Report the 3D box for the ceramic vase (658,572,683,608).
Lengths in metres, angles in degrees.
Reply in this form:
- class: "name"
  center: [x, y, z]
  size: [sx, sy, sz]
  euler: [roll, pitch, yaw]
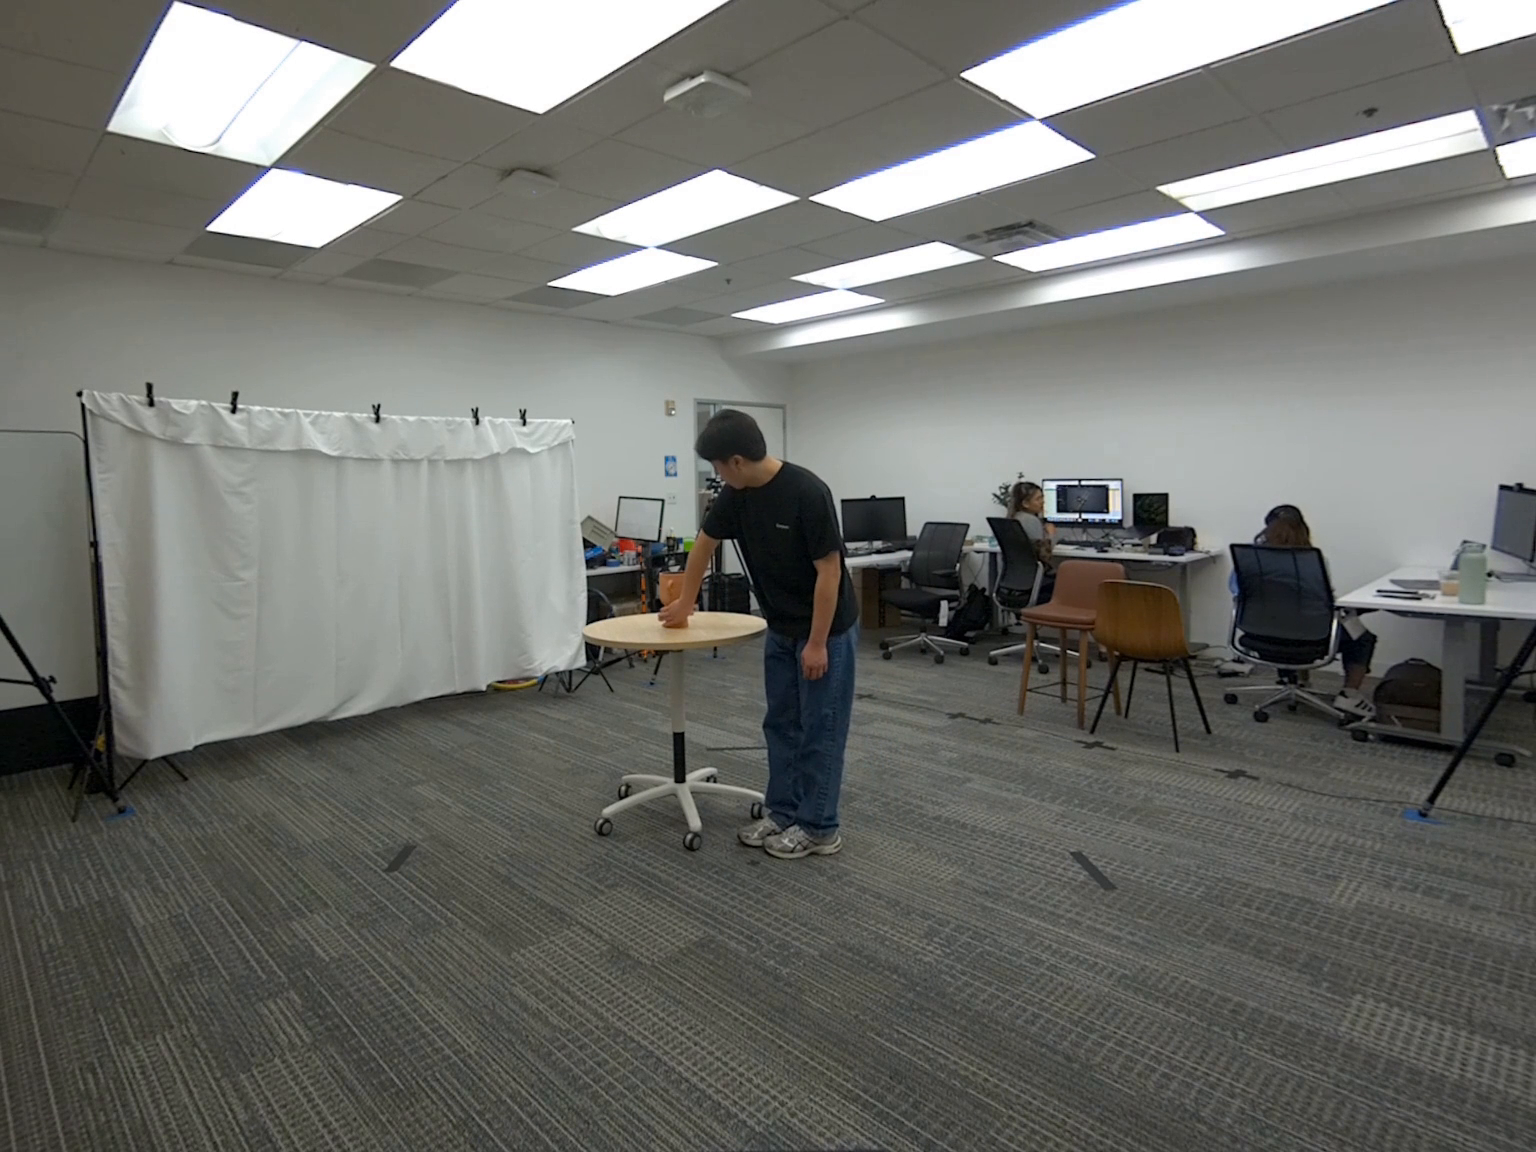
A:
- class: "ceramic vase"
  center: [-0.371, 0.094, 3.508]
  size: [0.154, 0.219, 0.138]
  euler: [-3, 4, -38]
